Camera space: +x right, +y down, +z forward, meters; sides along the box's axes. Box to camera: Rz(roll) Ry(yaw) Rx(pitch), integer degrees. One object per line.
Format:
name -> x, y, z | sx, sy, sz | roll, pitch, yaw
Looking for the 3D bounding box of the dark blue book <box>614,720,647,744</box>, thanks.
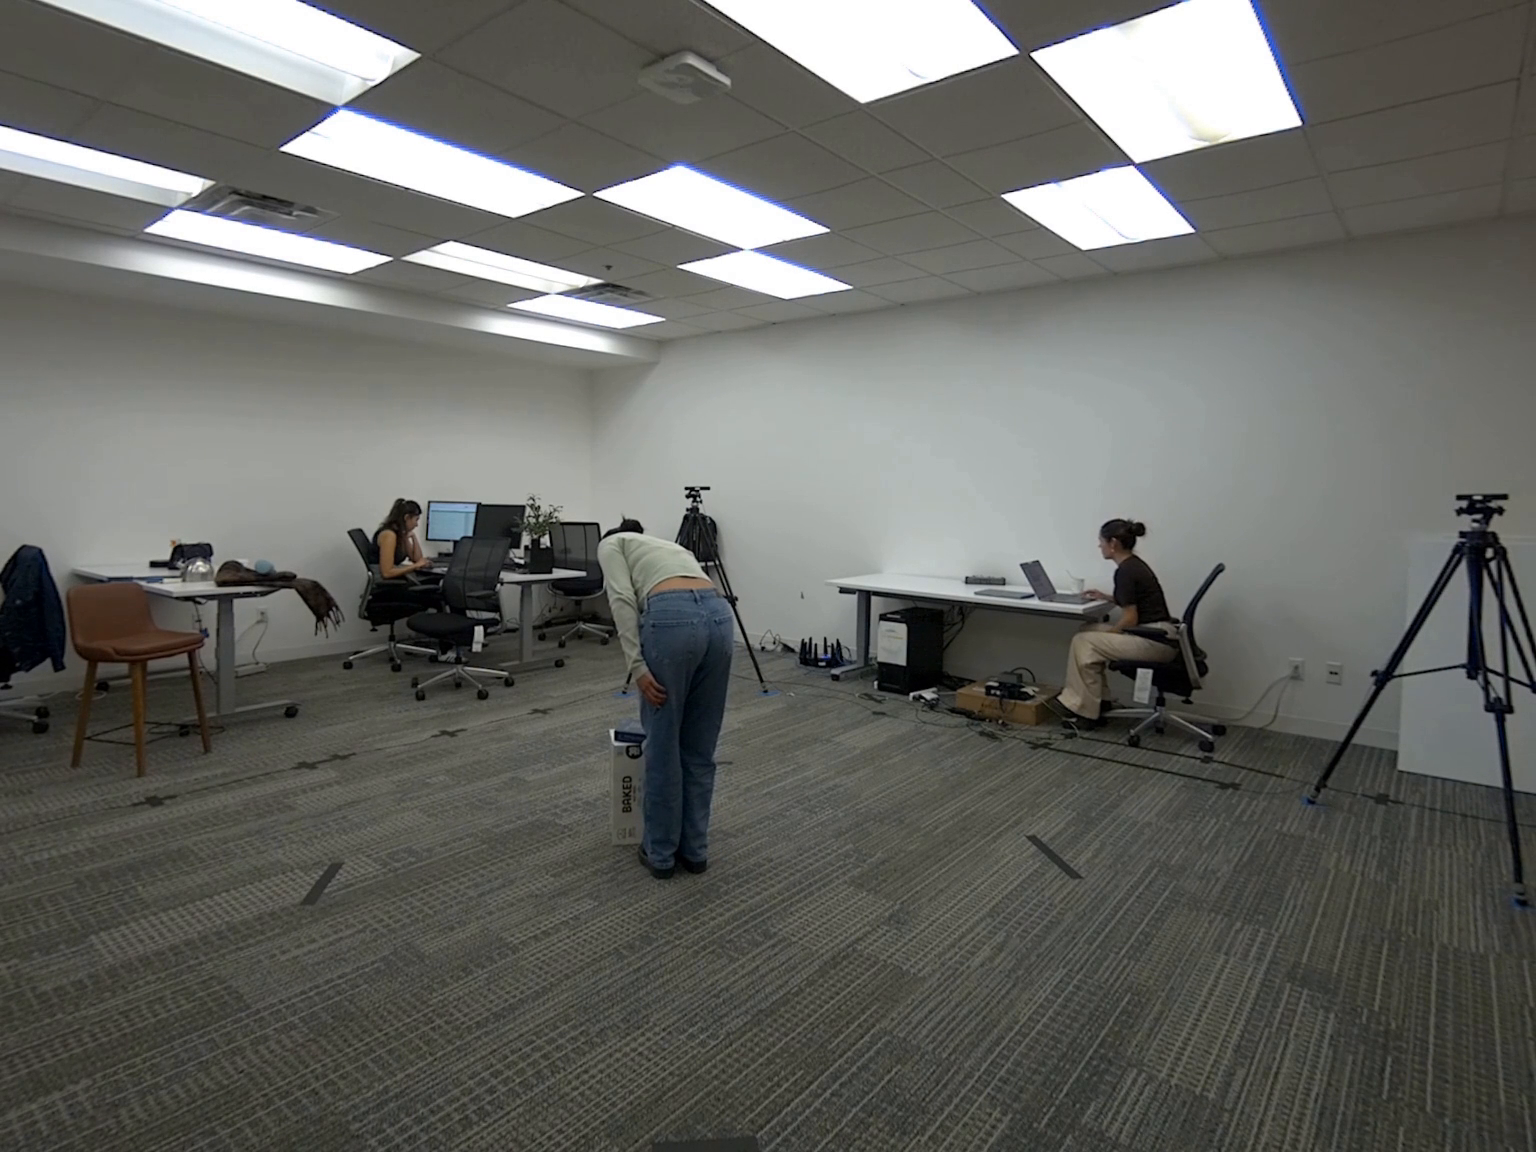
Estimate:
dark blue book -> -0.480, 0.615, 3.338 | 0.249, 0.045, 0.162 | 5, 7, 14
